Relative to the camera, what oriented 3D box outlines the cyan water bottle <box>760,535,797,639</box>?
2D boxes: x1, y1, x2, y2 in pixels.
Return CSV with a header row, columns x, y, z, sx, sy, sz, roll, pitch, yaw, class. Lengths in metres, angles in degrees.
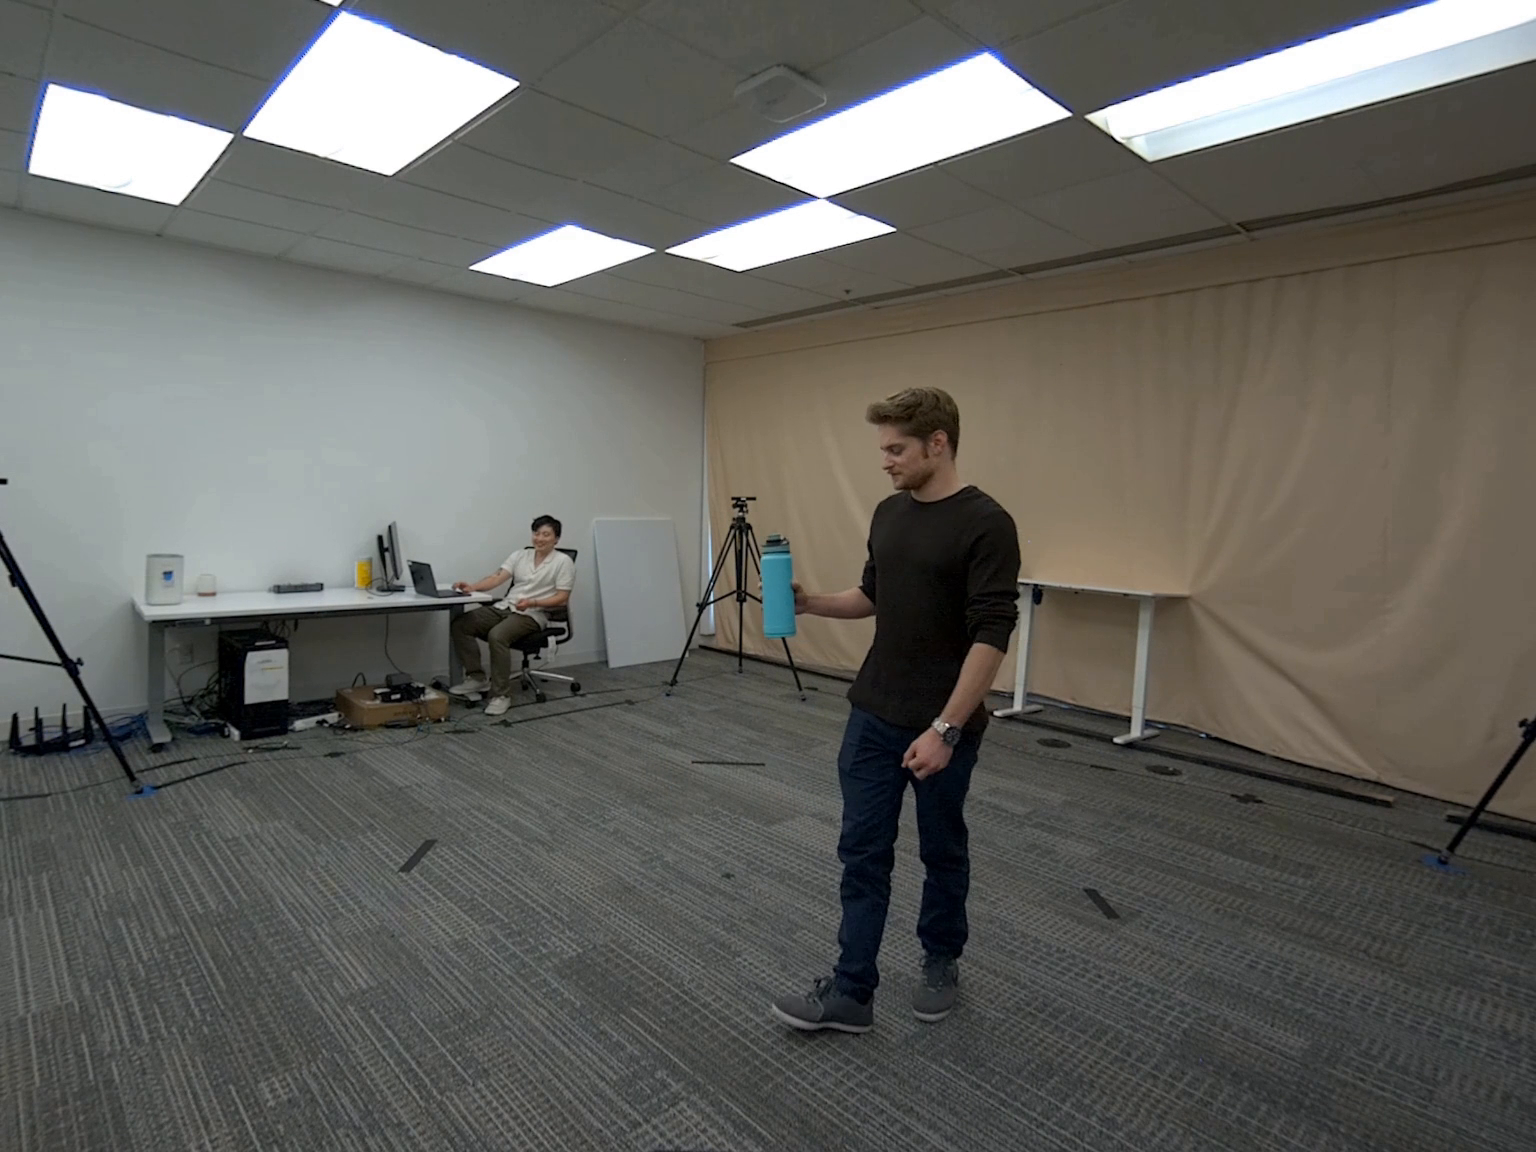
x,y,z,sx,sy,sz,roll,pitch,yaw,class
0.020,0.025,2.335,0.092,0.284,0.092,-3,-3,-1,cyan water bottle
